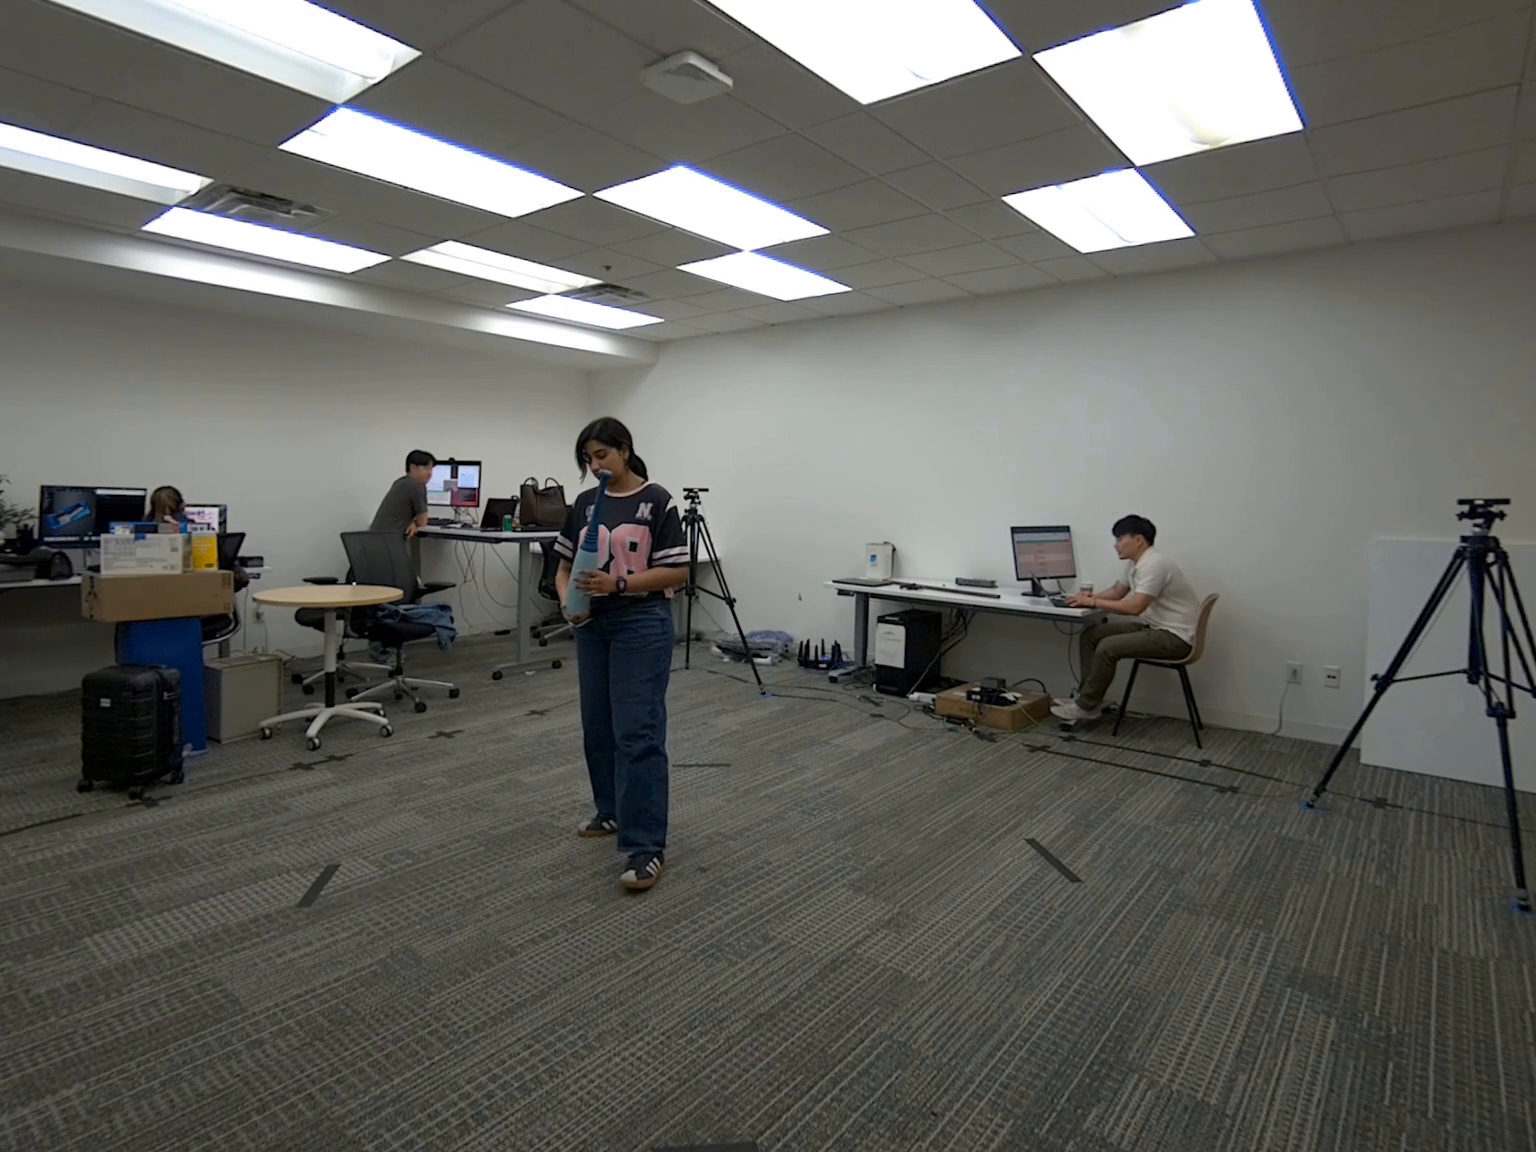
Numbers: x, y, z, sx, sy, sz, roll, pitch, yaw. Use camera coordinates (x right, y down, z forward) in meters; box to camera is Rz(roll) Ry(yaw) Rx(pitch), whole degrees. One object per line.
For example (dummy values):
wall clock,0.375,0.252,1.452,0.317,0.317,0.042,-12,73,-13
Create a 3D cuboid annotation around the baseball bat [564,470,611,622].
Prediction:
baseball bat,-0.647,-0.119,3.032,0.088,0.539,0.090,16,12,-6
